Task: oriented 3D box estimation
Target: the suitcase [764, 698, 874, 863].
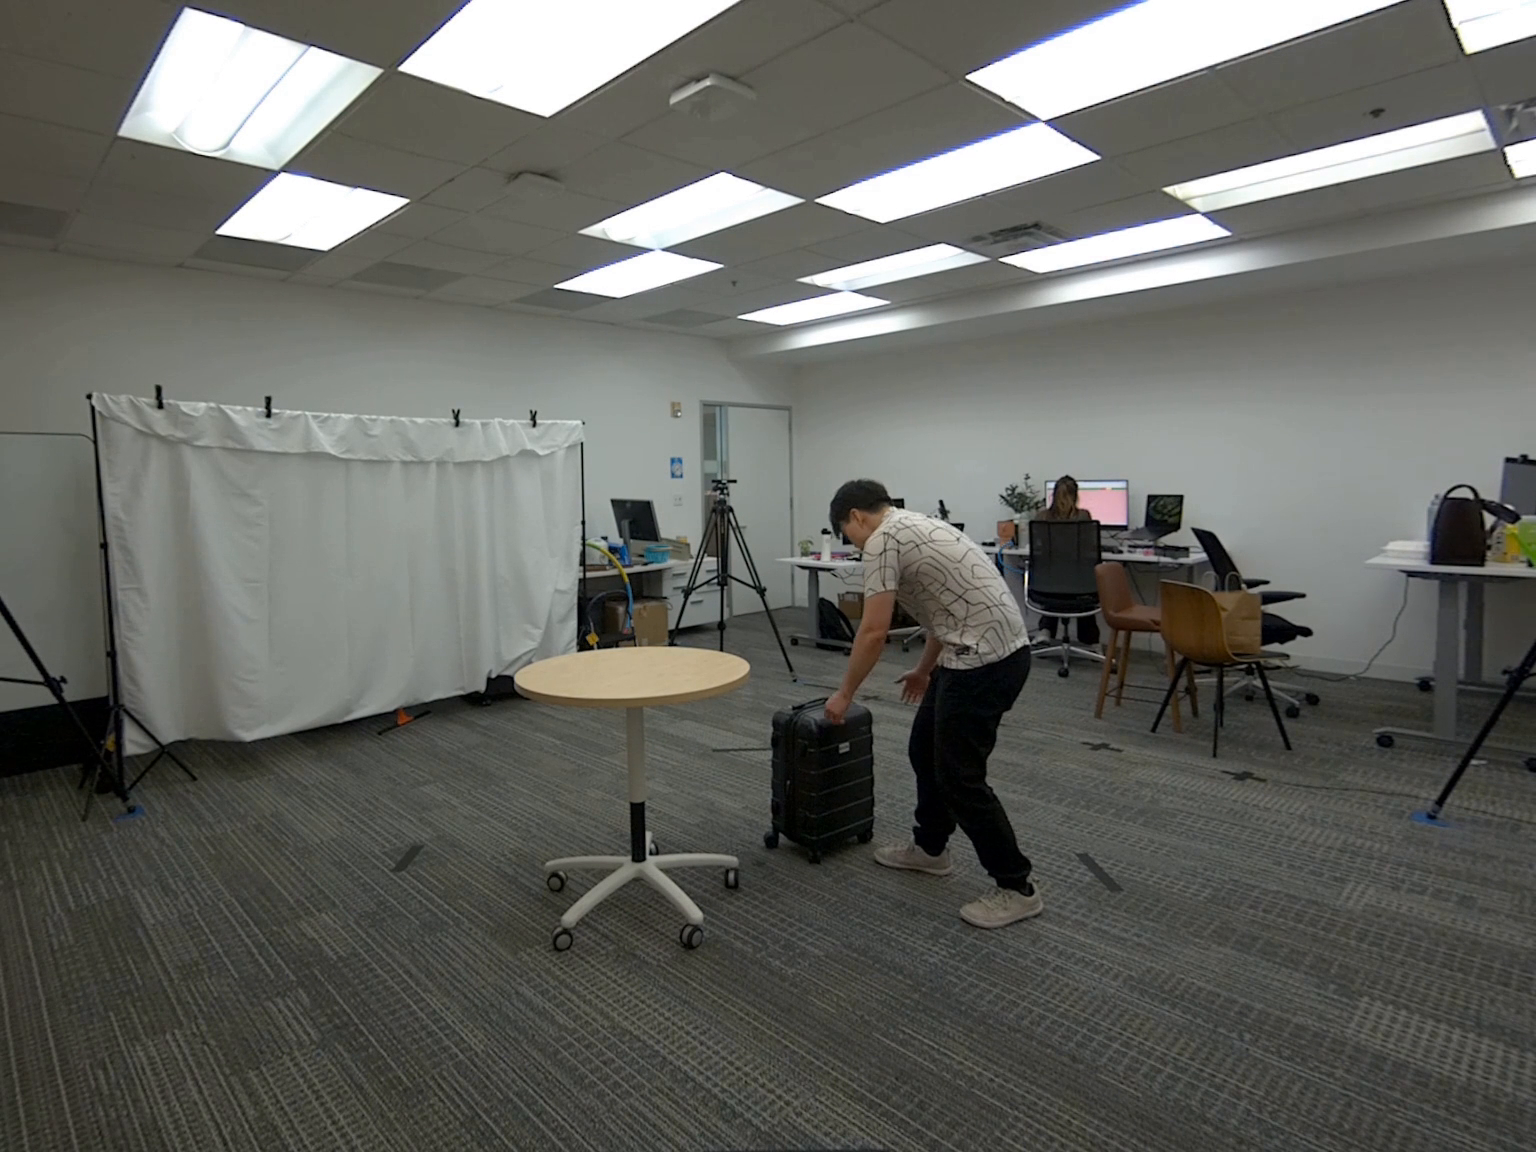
[{"bbox_3d":[0.212,0.749,3.252,0.365,0.547,0.256,-3,6,-39],"label":"suitcase"}]
